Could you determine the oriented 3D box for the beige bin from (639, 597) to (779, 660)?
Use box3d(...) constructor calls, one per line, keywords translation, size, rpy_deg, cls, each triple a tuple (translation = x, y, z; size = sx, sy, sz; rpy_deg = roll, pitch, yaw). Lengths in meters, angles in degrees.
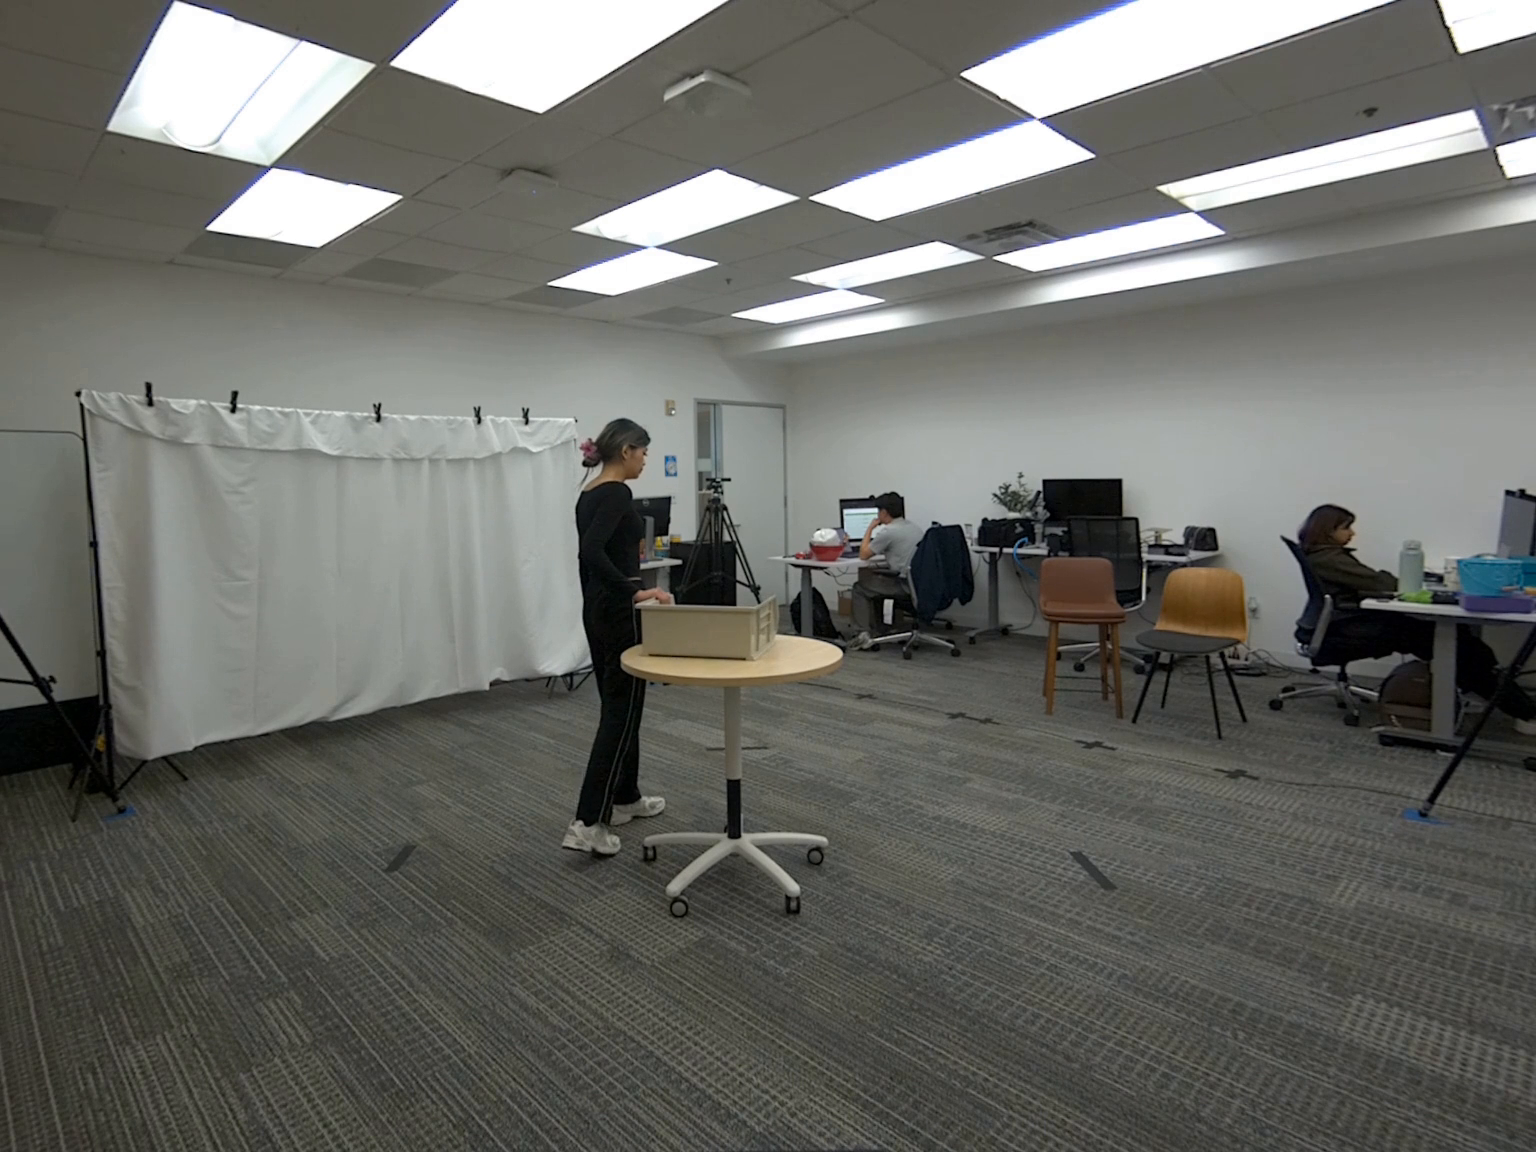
box3d(translation=(-0.206, 0.168, 3.036), size=(0.428, 0.188, 0.374), rpy_deg=(1, 7, 13), cls="beige bin")
